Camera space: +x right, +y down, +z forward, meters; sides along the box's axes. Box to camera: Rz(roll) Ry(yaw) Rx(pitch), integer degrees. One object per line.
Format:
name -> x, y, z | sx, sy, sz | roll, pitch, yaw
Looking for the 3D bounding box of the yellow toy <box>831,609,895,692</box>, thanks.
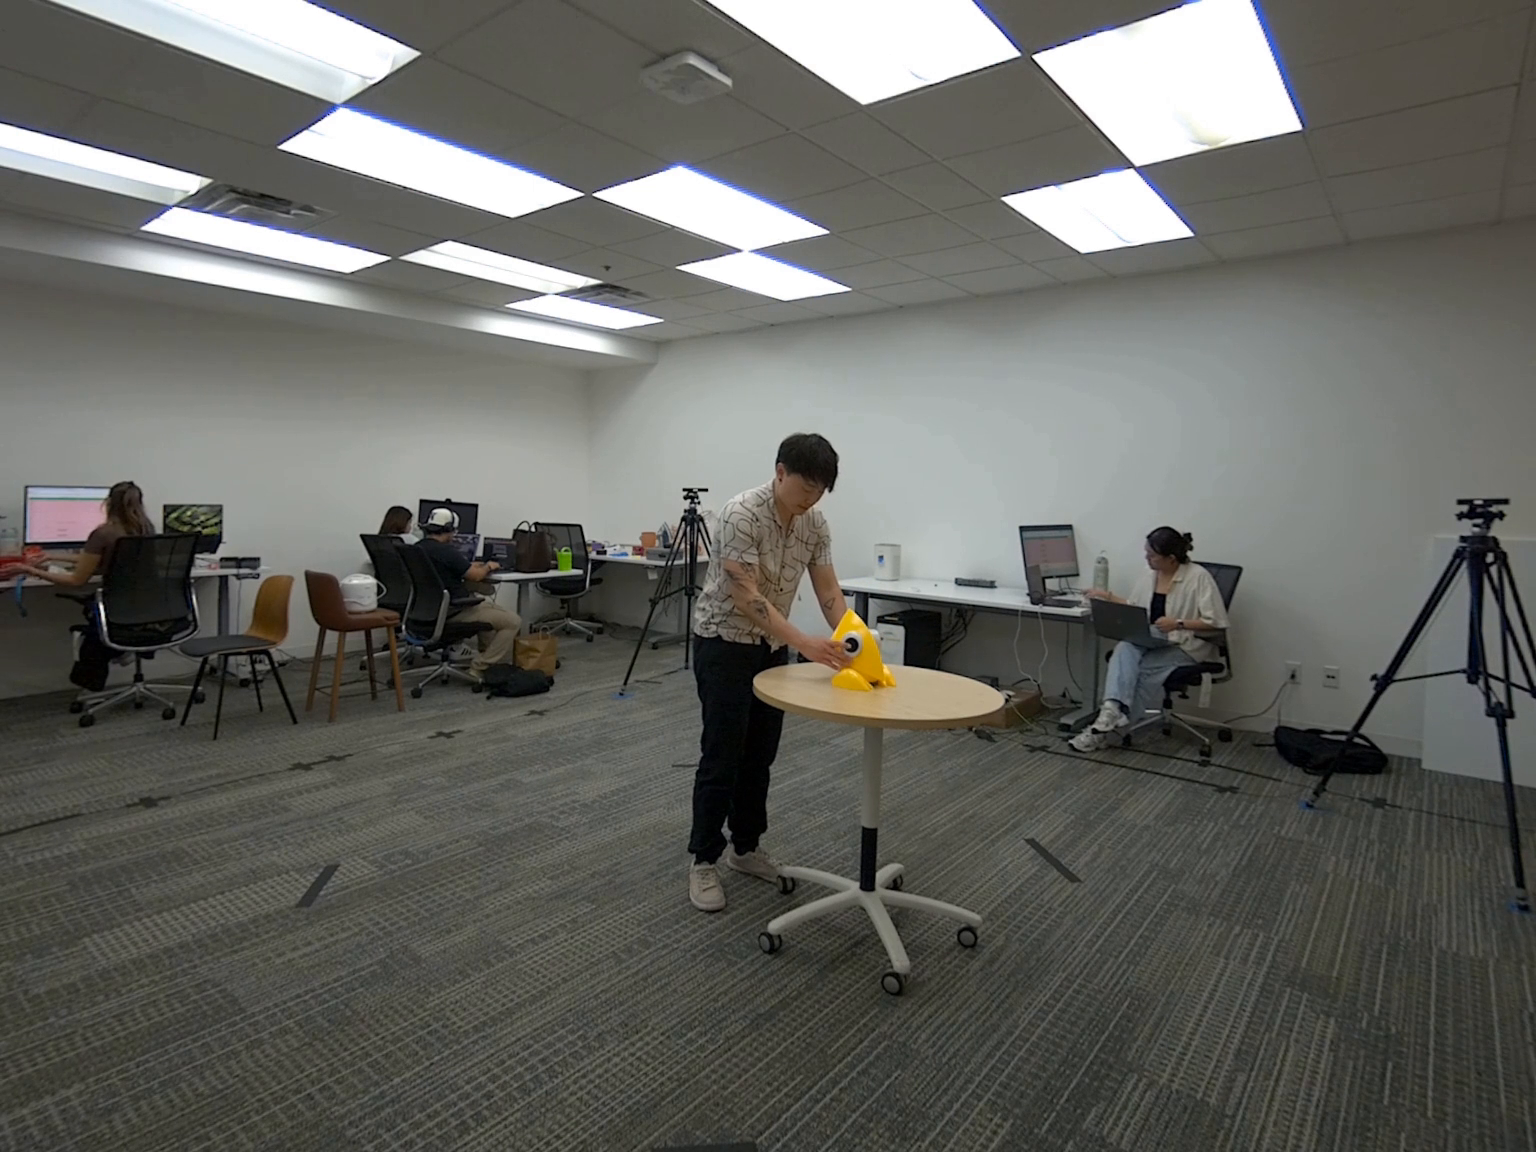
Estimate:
yellow toy -> 0.289, 0.226, 2.690 | 0.198, 0.230, 0.199 | -2, 5, -42
